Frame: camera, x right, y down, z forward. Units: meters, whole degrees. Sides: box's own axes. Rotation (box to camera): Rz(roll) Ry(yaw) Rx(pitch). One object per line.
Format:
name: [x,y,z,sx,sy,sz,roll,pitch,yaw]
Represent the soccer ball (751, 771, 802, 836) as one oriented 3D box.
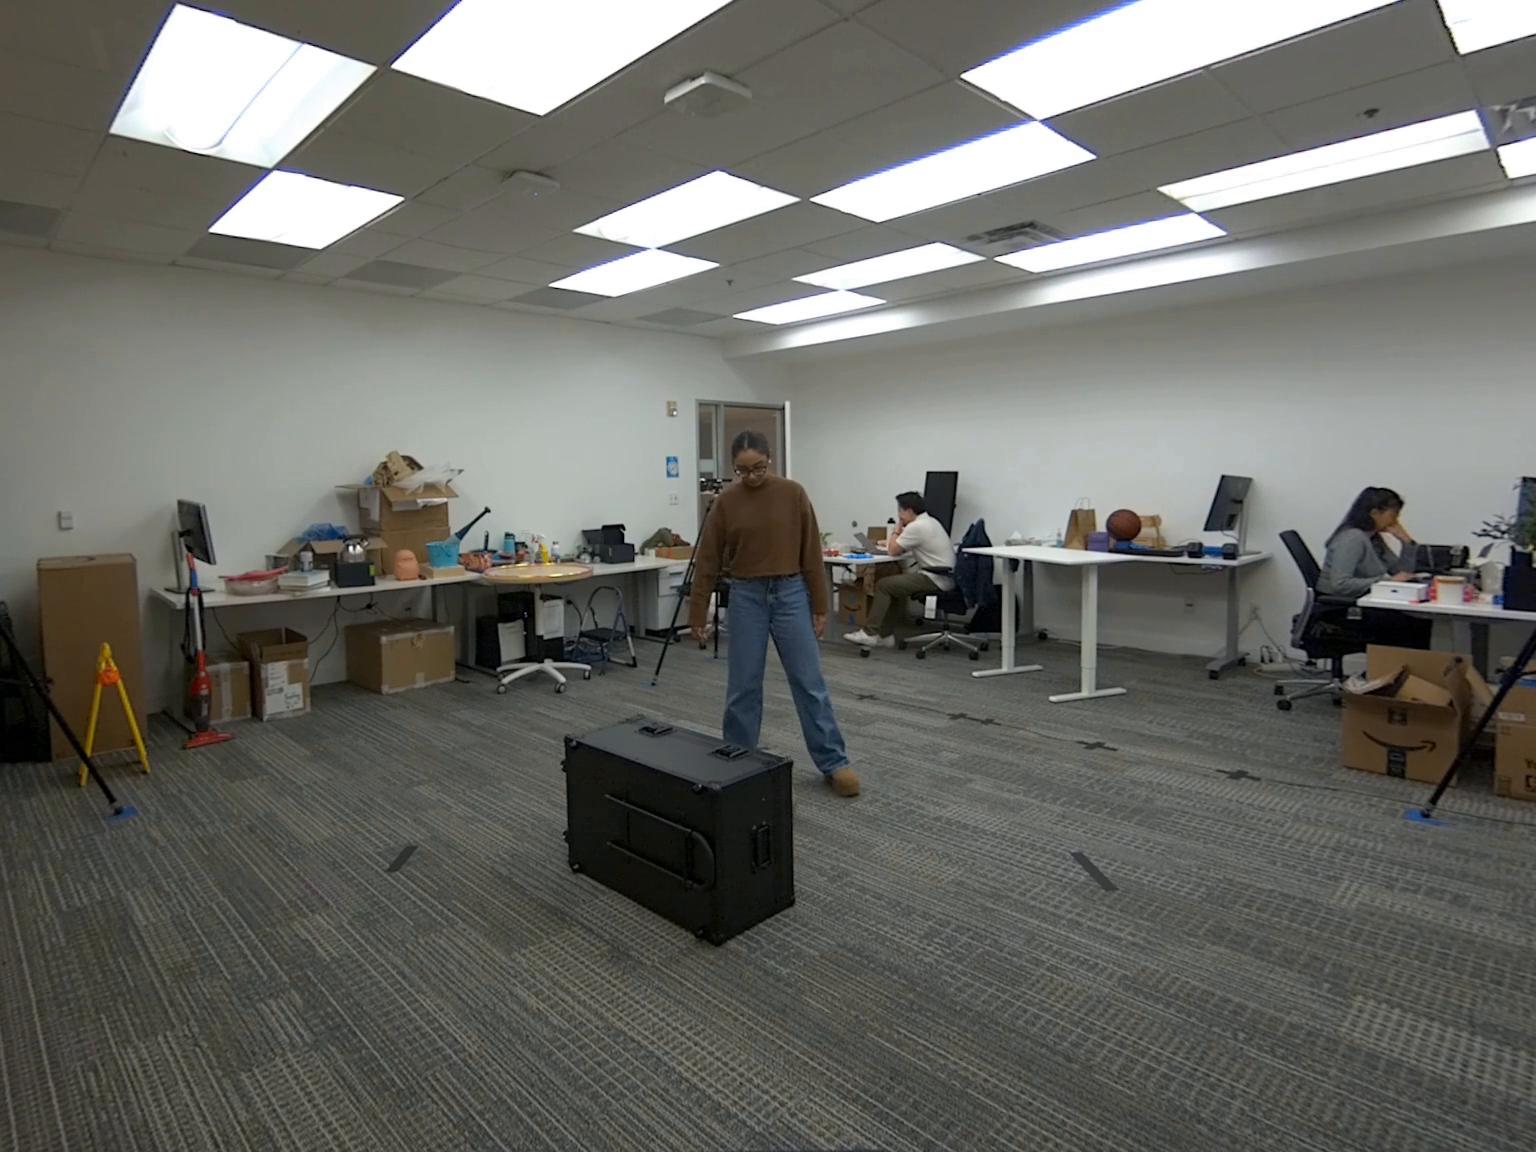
soccer ball: [0.030,0.912,3.449,0.187,0.187,0.188,-1,5,-2]
